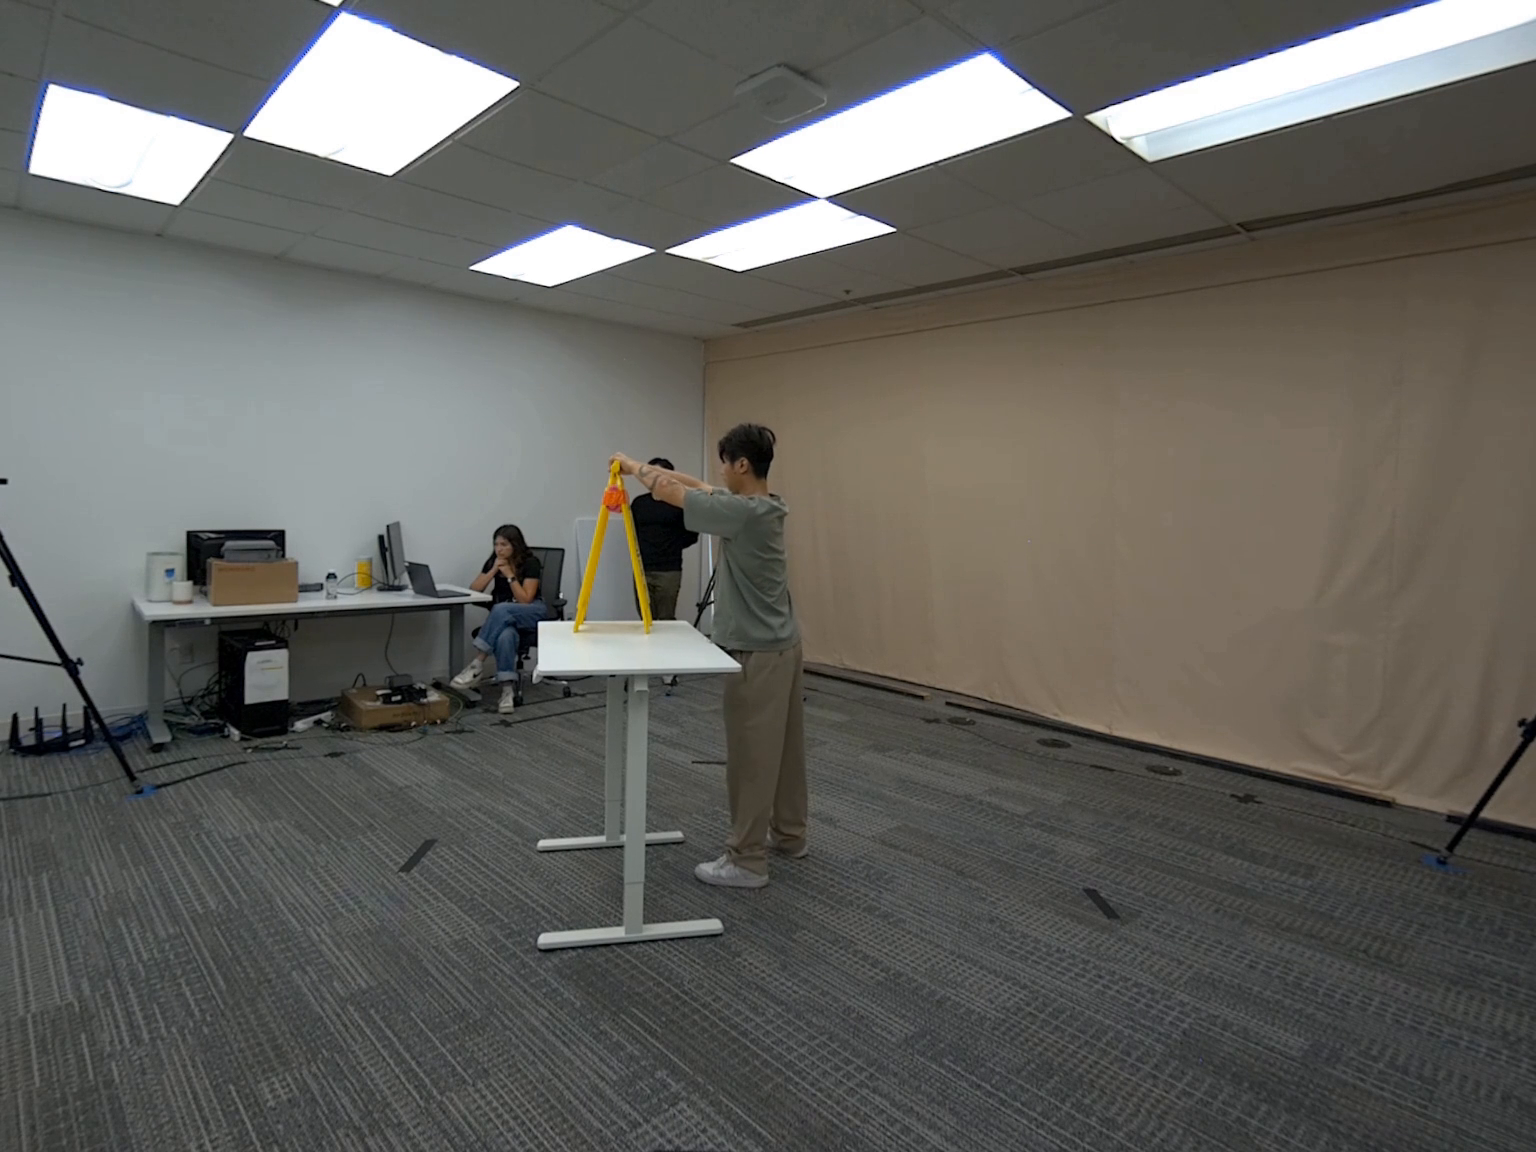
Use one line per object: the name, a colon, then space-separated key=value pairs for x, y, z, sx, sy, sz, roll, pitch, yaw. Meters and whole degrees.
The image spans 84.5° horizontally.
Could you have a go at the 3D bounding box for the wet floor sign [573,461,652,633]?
wet floor sign: x=-0.594 y=-0.115 z=3.257 sx=0.288 sy=0.646 sz=0.283 roll=1 pitch=1 yaw=-5
